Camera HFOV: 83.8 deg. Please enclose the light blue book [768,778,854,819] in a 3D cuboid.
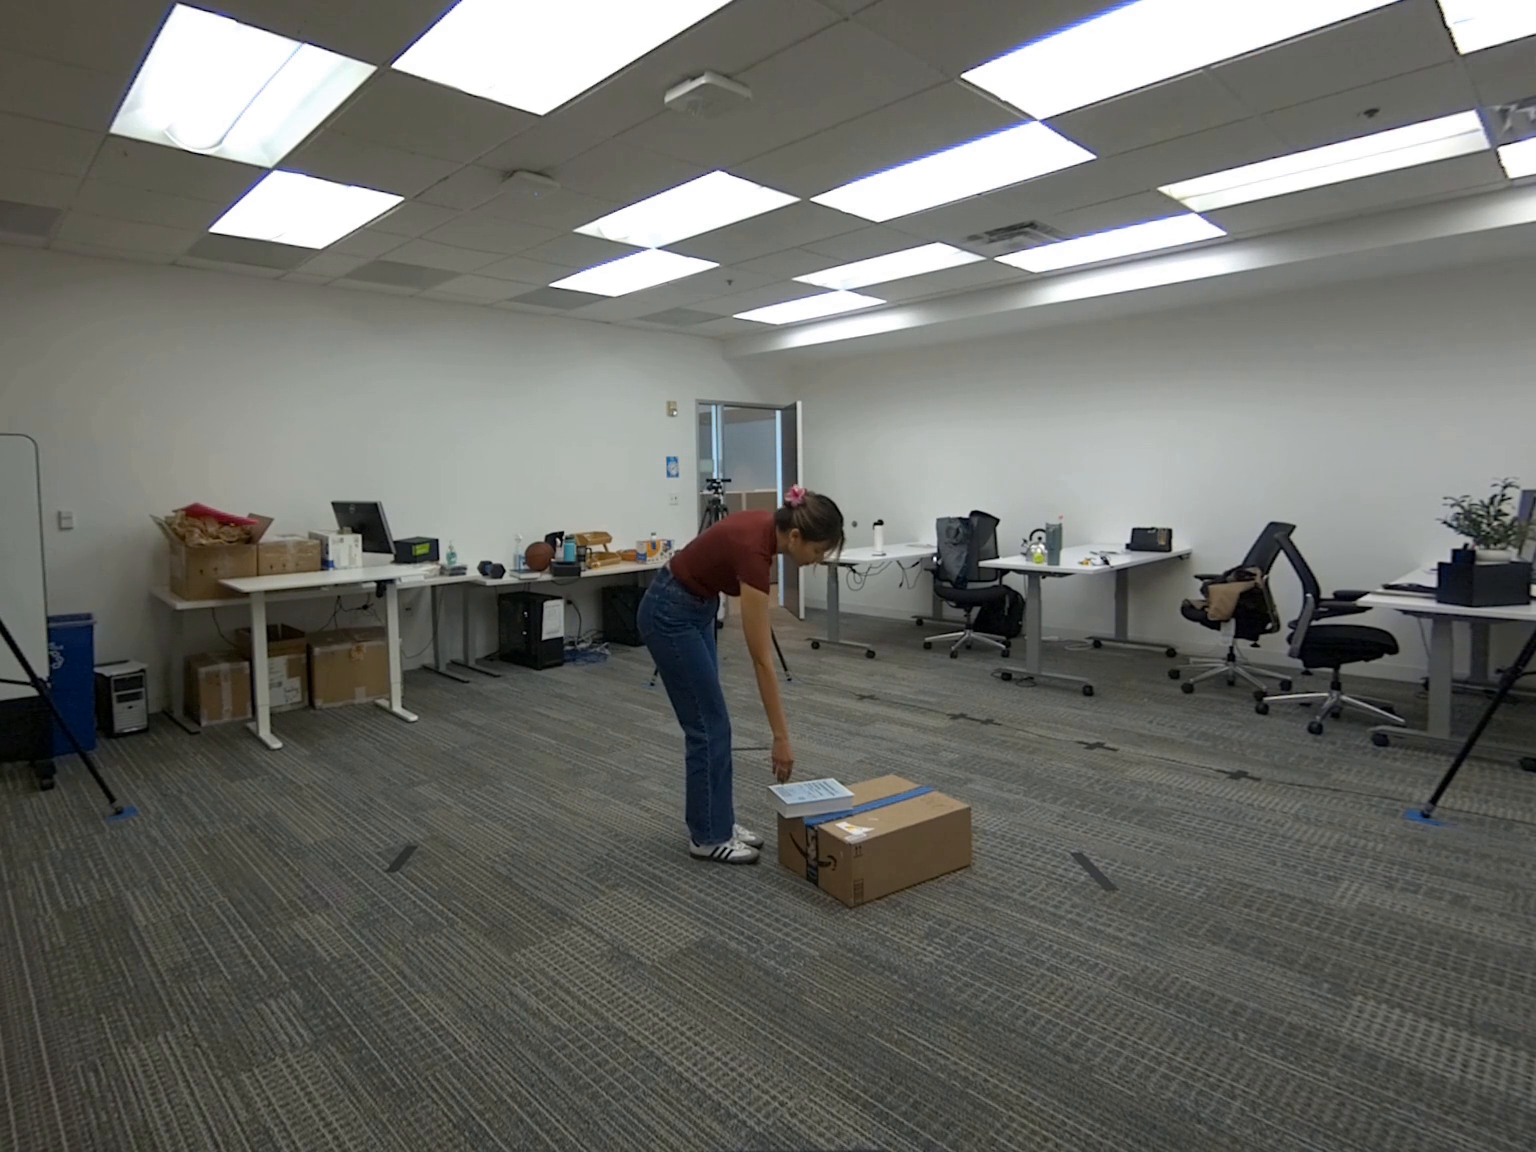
[{"bbox_3d":[0.151,0.789,3.080,0.256,0.059,0.195,-3,6,-20],"label":"light blue book"}]
